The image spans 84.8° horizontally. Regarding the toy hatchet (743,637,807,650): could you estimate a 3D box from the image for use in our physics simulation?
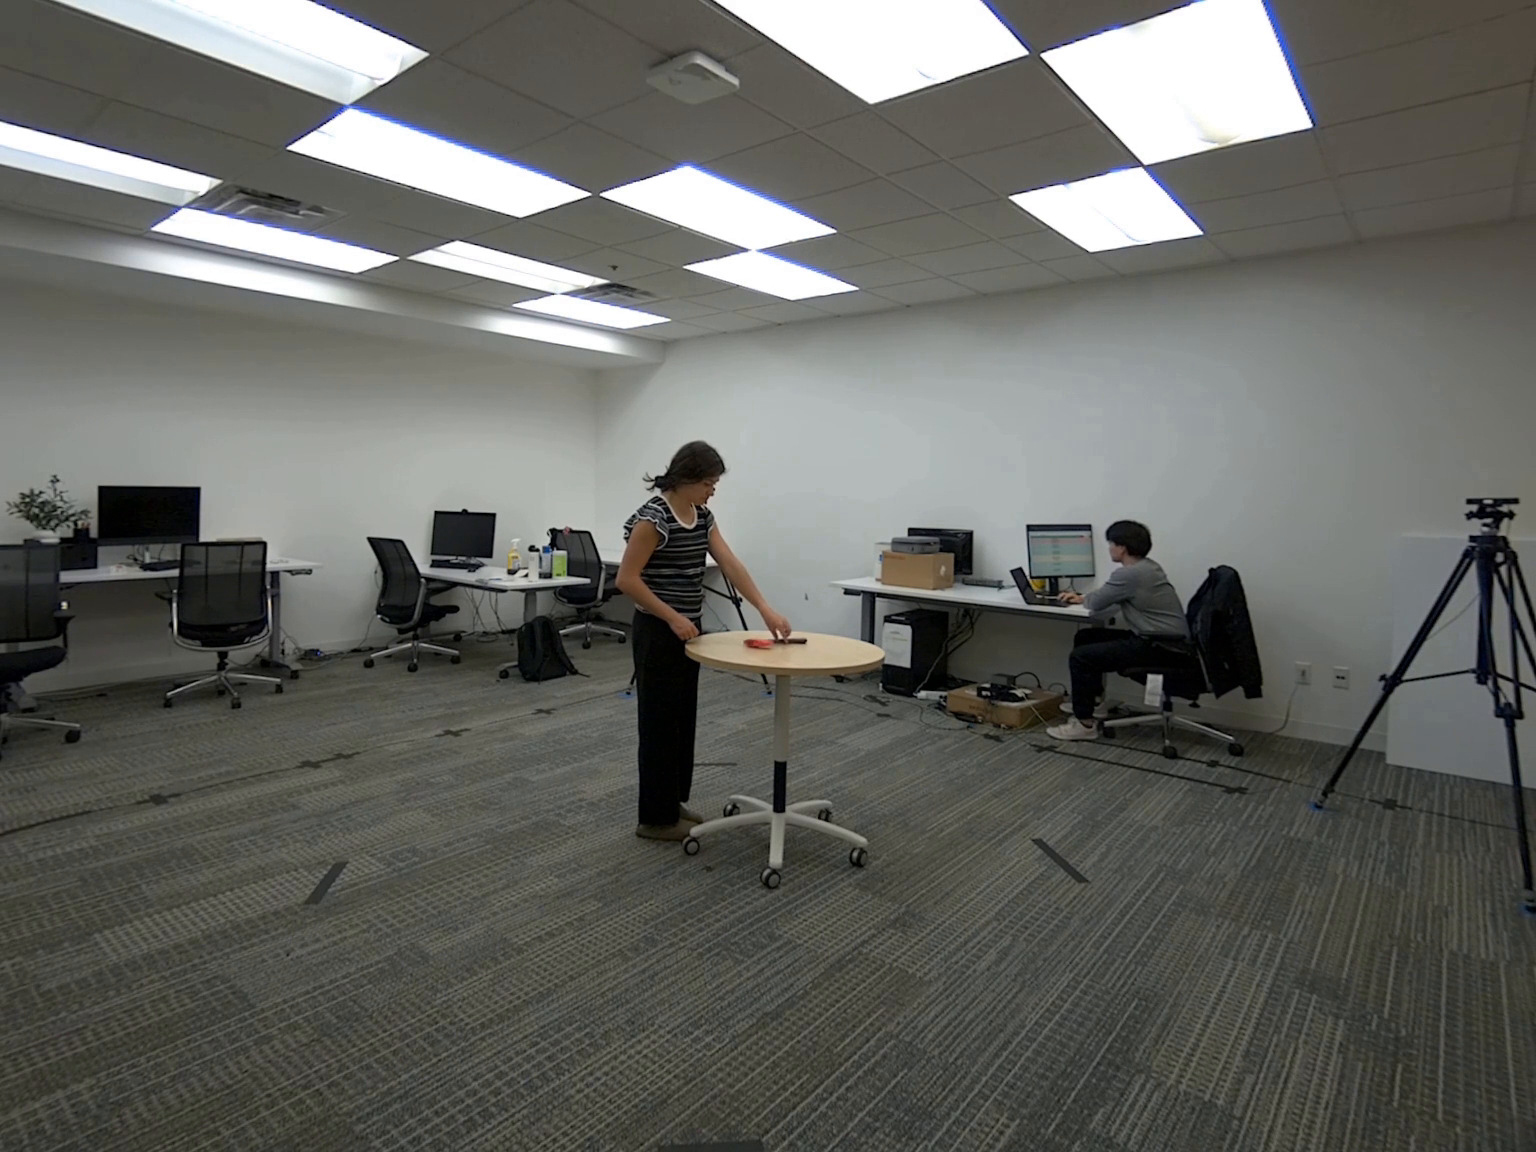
[{"bbox_3d":[0.038,0.253,3.300,0.266,0.030,0.132,-1,-3,-13],"label":"toy hatchet"}]
